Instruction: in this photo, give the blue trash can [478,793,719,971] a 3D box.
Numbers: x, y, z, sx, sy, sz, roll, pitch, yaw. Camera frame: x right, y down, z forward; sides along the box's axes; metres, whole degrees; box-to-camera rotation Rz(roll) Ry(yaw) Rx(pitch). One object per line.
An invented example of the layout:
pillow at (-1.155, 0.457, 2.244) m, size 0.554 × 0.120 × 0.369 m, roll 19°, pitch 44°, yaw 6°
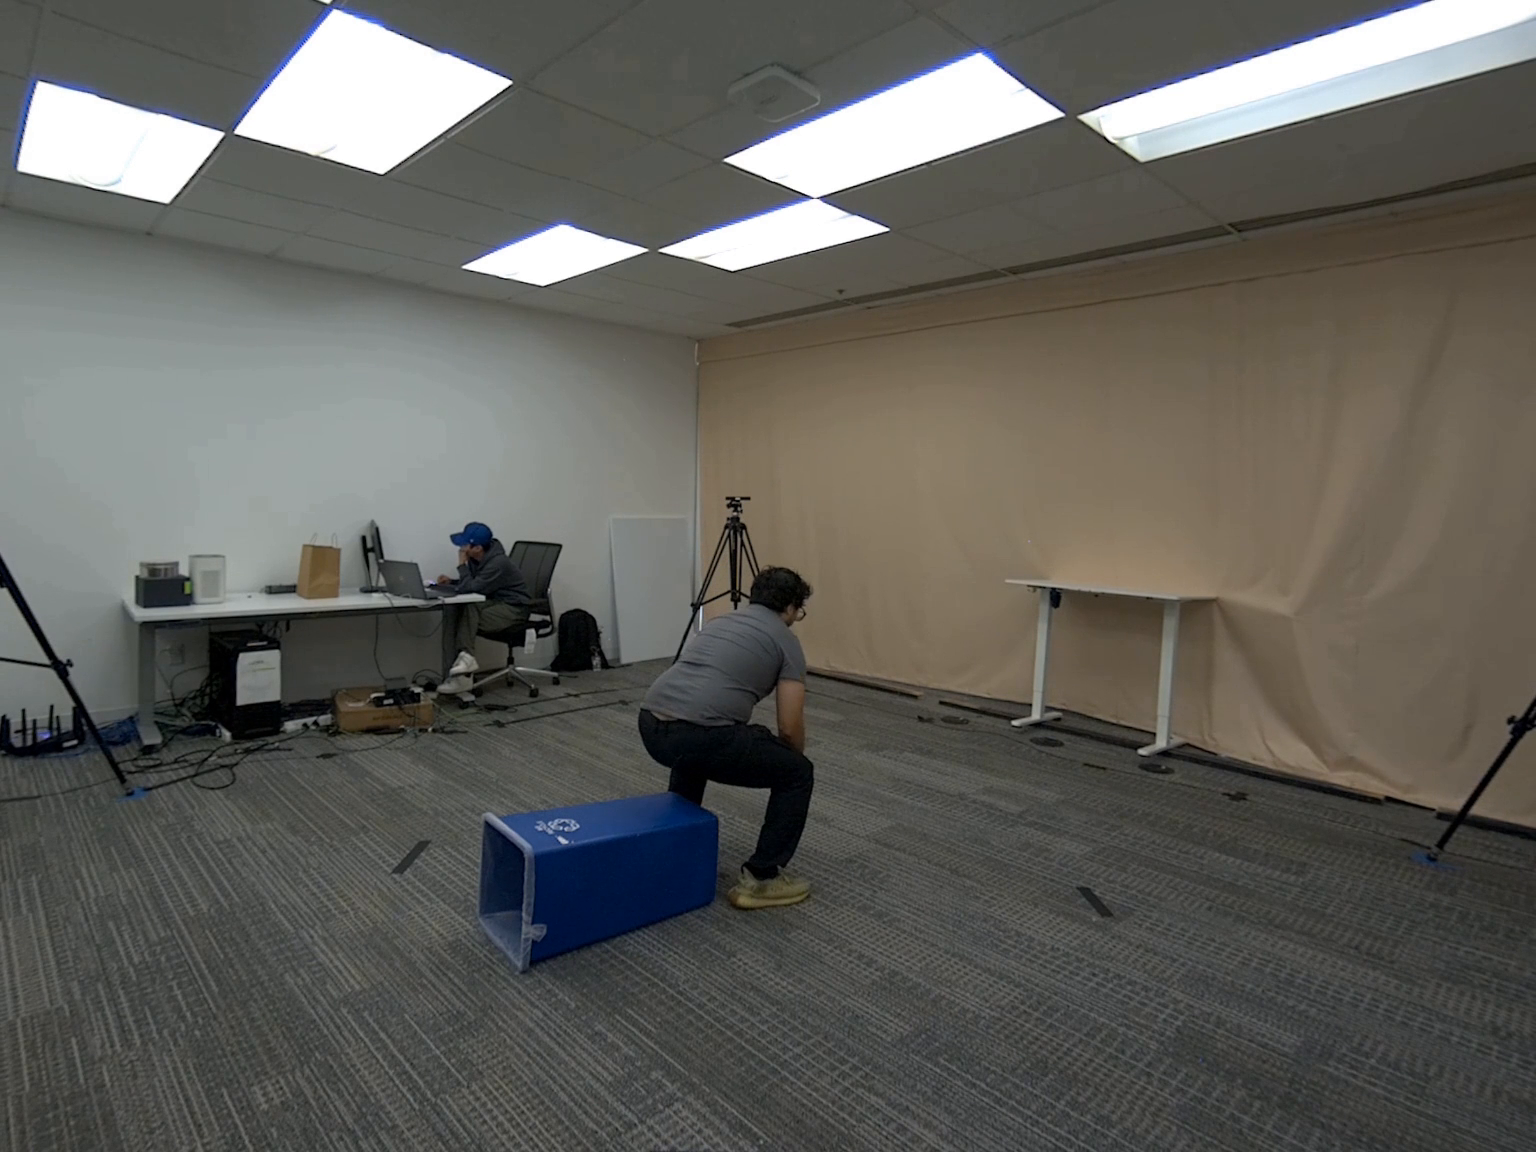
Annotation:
blue trash can at (-0.552, 0.950, 2.780) m, size 0.697 × 0.373 × 0.388 m, roll 0°, pitch 4°, yaw -39°
